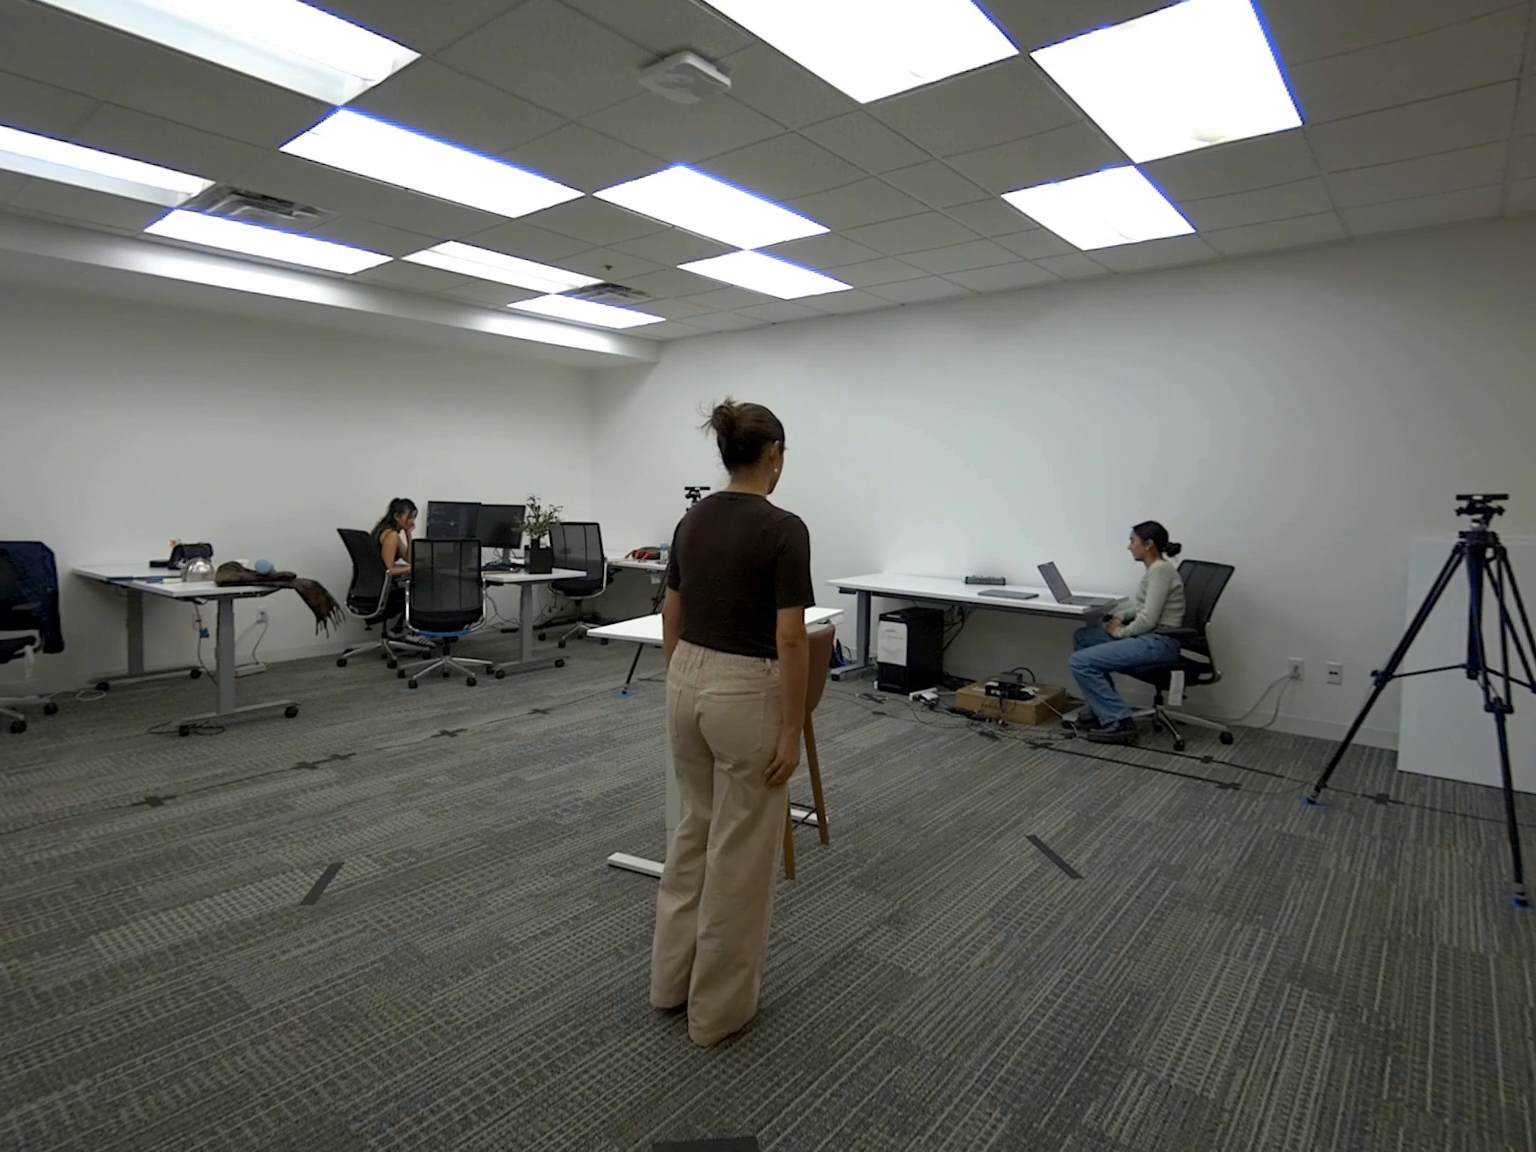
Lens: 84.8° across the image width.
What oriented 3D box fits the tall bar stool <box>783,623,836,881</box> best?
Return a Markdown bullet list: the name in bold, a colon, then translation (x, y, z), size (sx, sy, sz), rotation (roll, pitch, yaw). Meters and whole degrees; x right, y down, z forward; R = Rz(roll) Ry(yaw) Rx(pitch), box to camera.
- **tall bar stool**: translation (-0.033, 0.619, 3.264), size (0.480, 0.887, 0.446), rotation (4, 4, 26)
